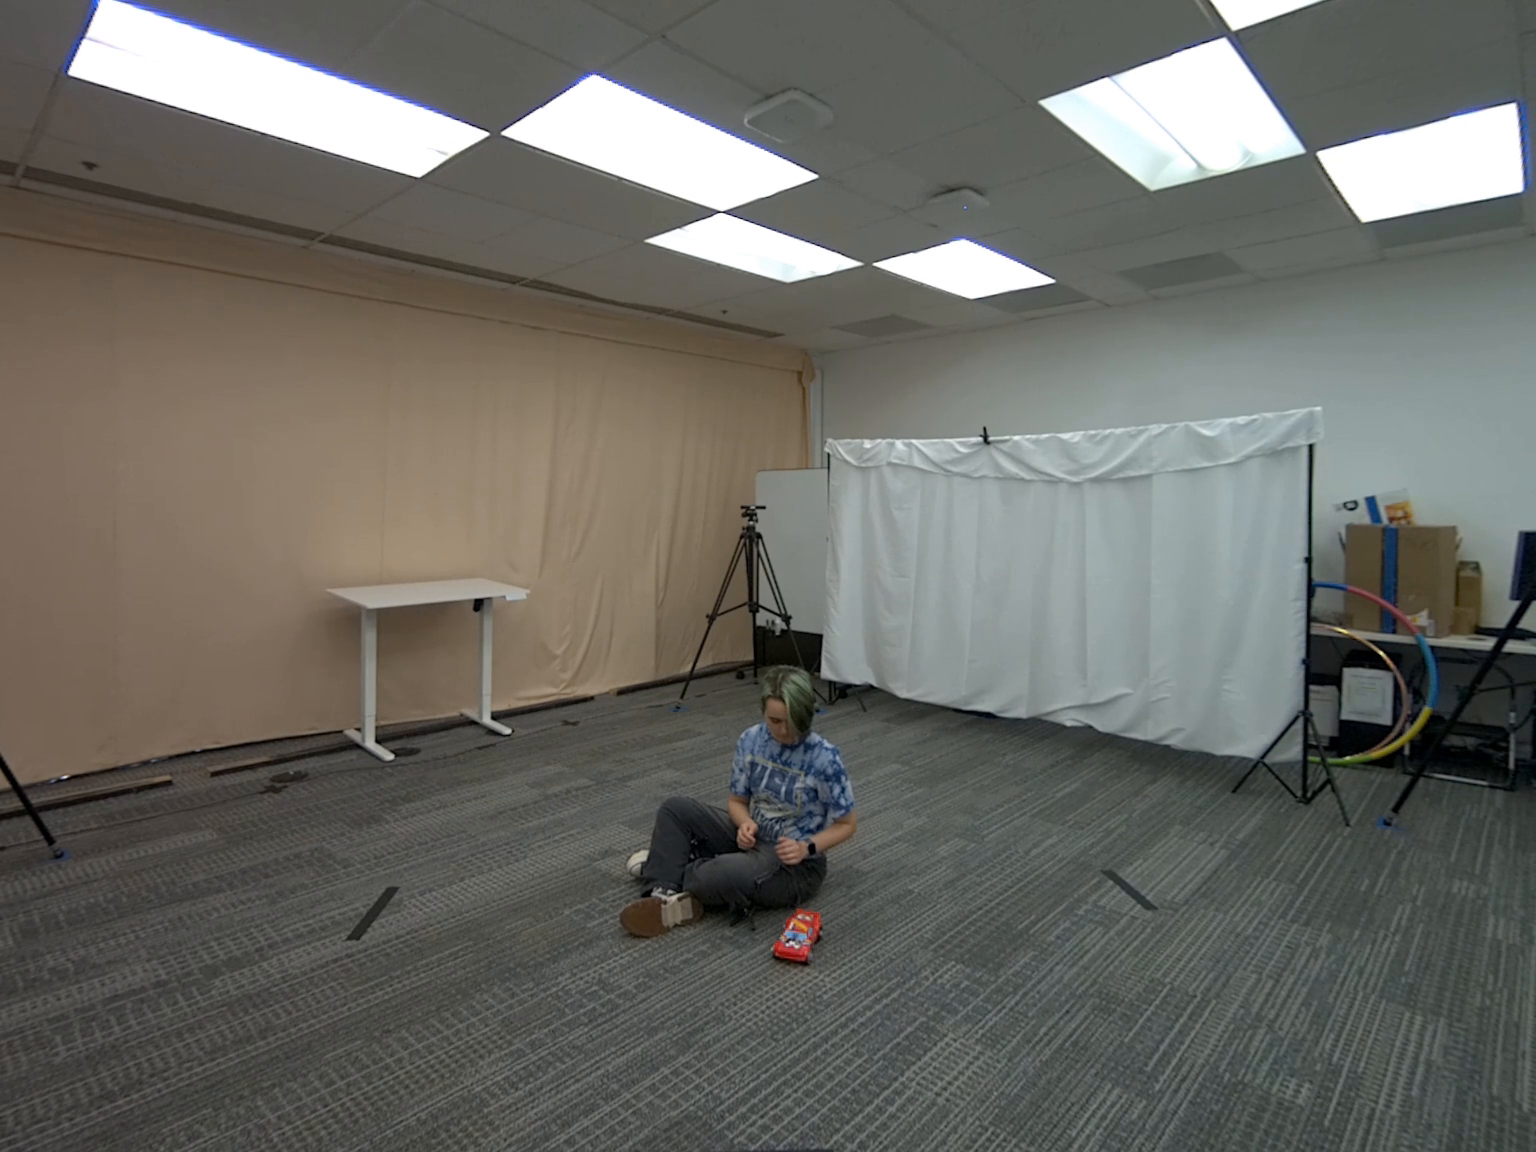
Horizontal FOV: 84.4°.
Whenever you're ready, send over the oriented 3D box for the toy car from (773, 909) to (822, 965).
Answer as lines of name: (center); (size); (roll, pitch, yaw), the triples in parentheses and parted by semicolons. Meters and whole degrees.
toy car: (0.106, 1.132, 2.661); (0.133, 0.082, 0.252); (1, 16, 19)
